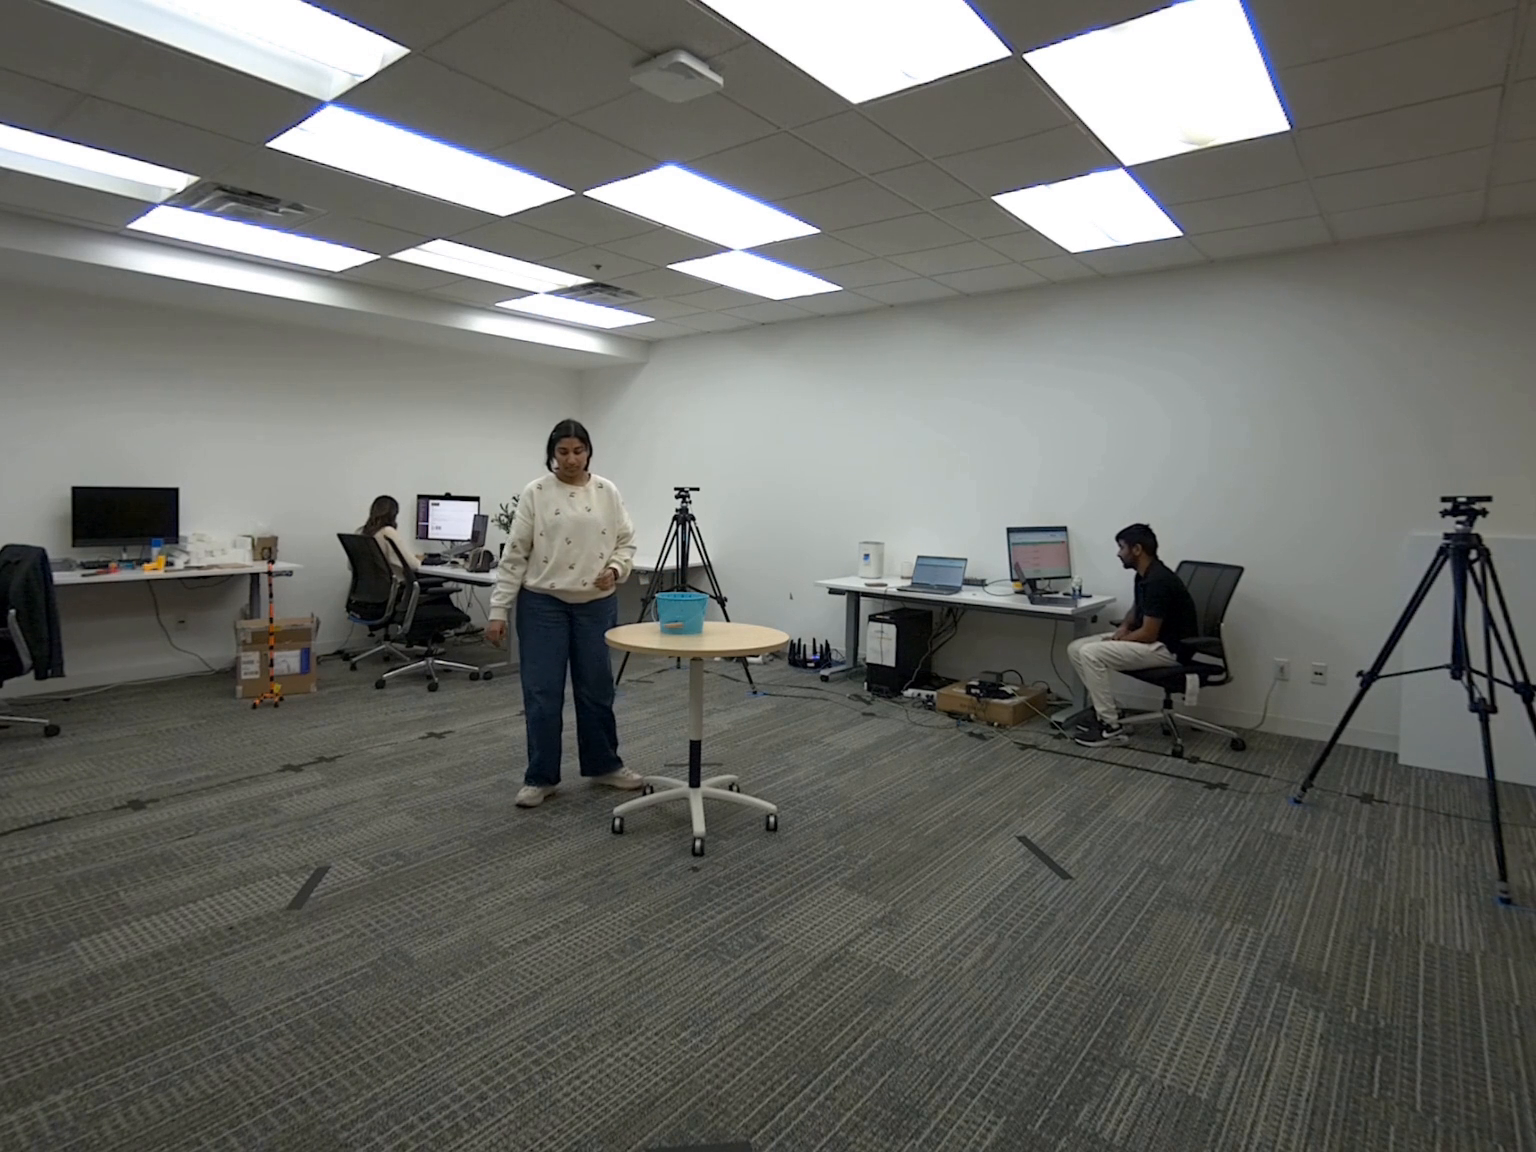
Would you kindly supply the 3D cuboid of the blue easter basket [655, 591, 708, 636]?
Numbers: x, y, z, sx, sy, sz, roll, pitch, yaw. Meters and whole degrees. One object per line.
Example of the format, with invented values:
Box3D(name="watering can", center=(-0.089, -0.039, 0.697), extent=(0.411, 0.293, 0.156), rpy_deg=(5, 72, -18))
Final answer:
Box3D(name="blue easter basket", center=(-0.389, 0.158, 3.625), extent=(0.243, 0.155, 0.244), rpy_deg=(1, 3, -2))
